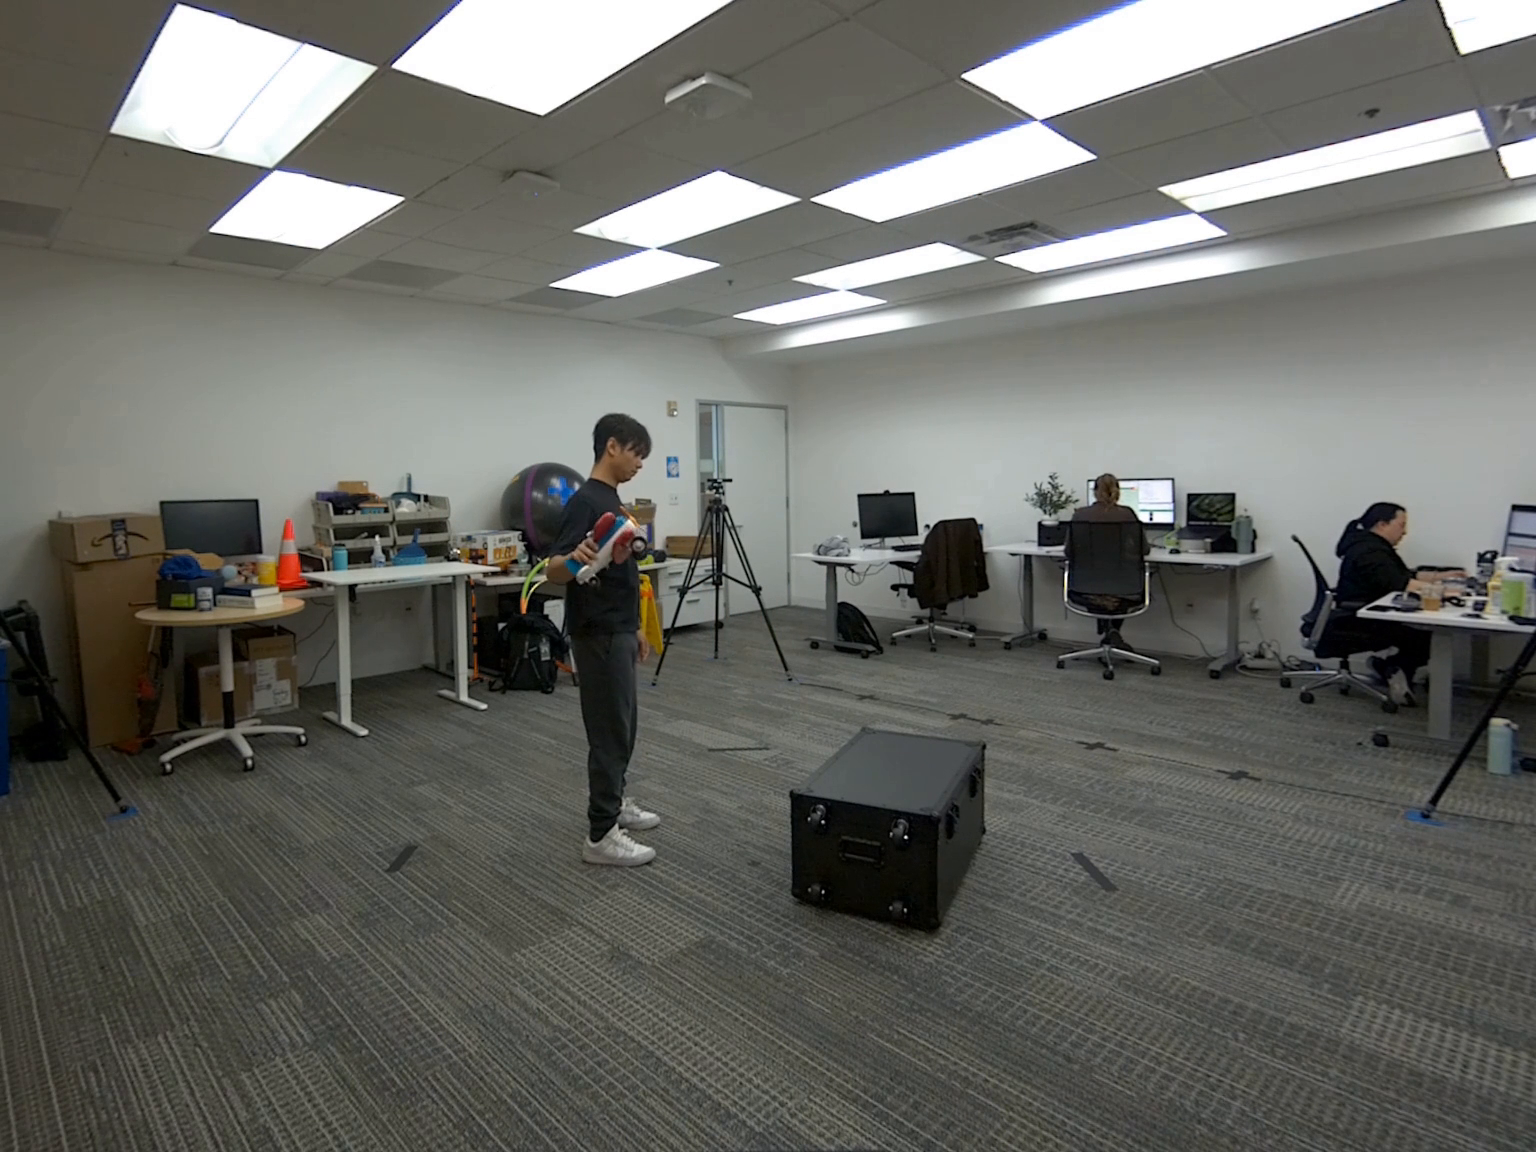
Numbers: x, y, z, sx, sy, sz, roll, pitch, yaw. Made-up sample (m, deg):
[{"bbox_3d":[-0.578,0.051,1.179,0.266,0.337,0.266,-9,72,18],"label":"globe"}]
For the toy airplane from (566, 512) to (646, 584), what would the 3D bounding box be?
[{"bbox_3d":[-0.489,-0.091,2.647,0.256,0.158,0.251,-31,-12,-41],"label":"toy airplane"}]
